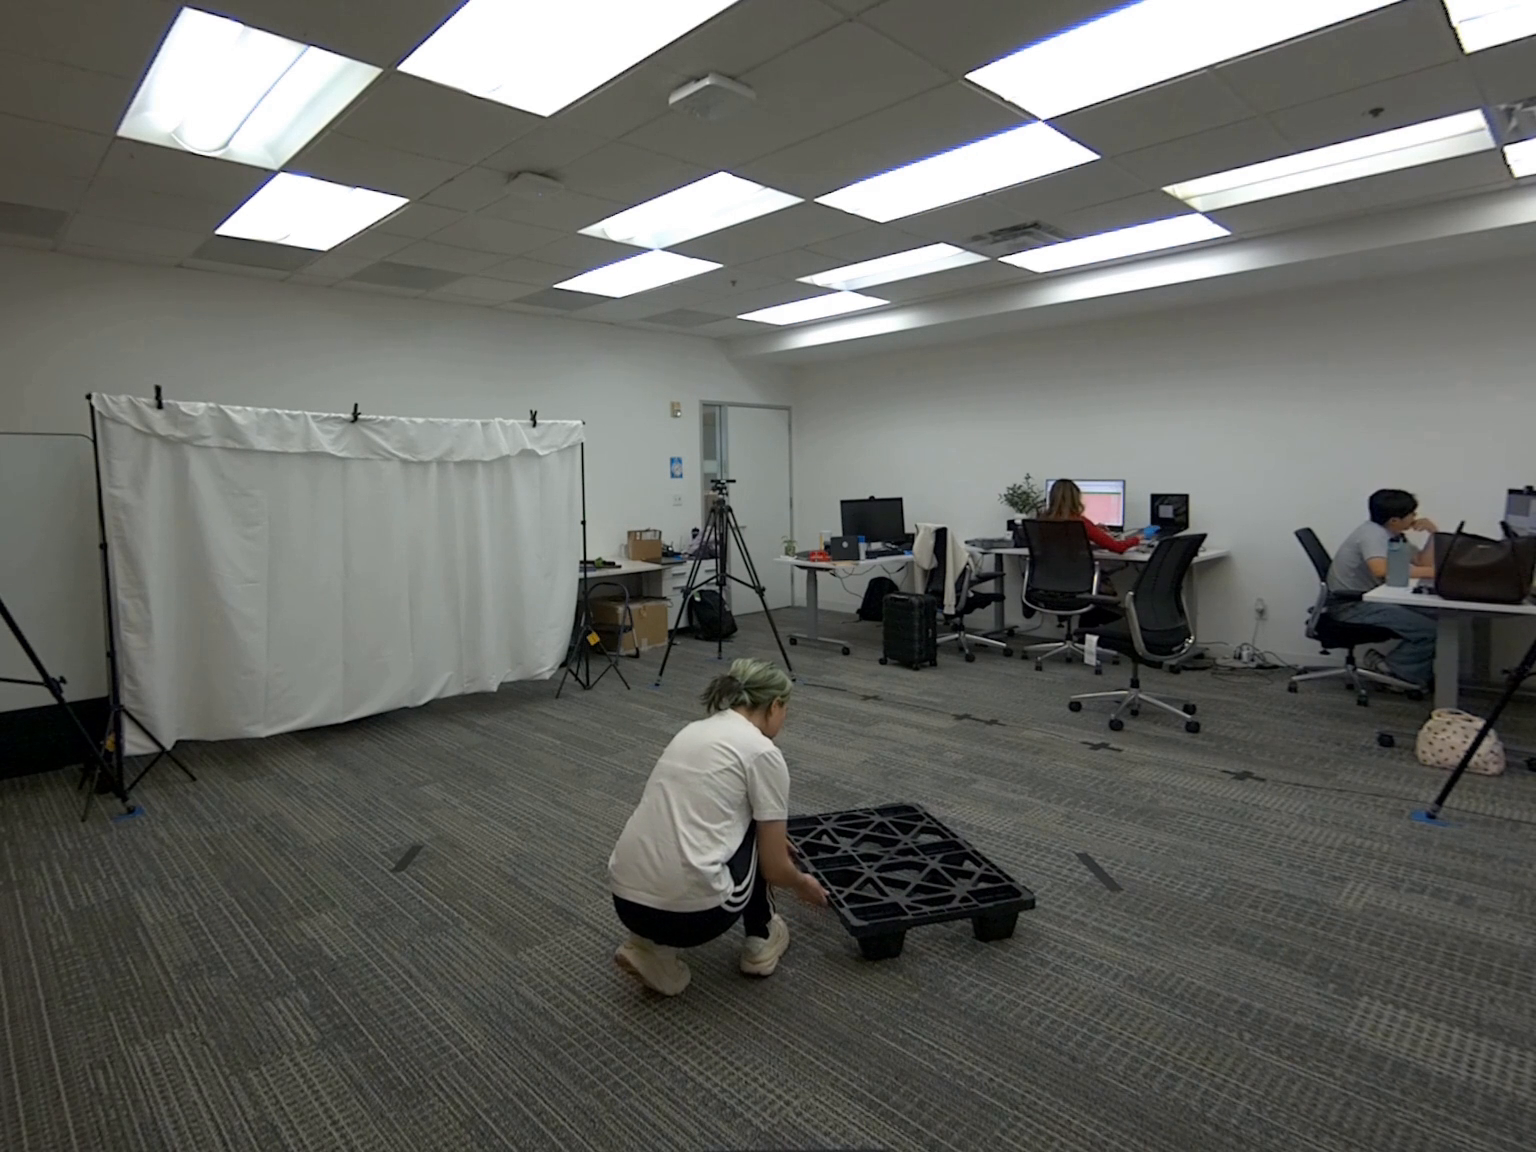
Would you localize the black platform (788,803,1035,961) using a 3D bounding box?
[{"bbox_3d":[0.408,0.995,2.877,0.597,0.143,0.821,-2,6,-16],"label":"black platform"}]
